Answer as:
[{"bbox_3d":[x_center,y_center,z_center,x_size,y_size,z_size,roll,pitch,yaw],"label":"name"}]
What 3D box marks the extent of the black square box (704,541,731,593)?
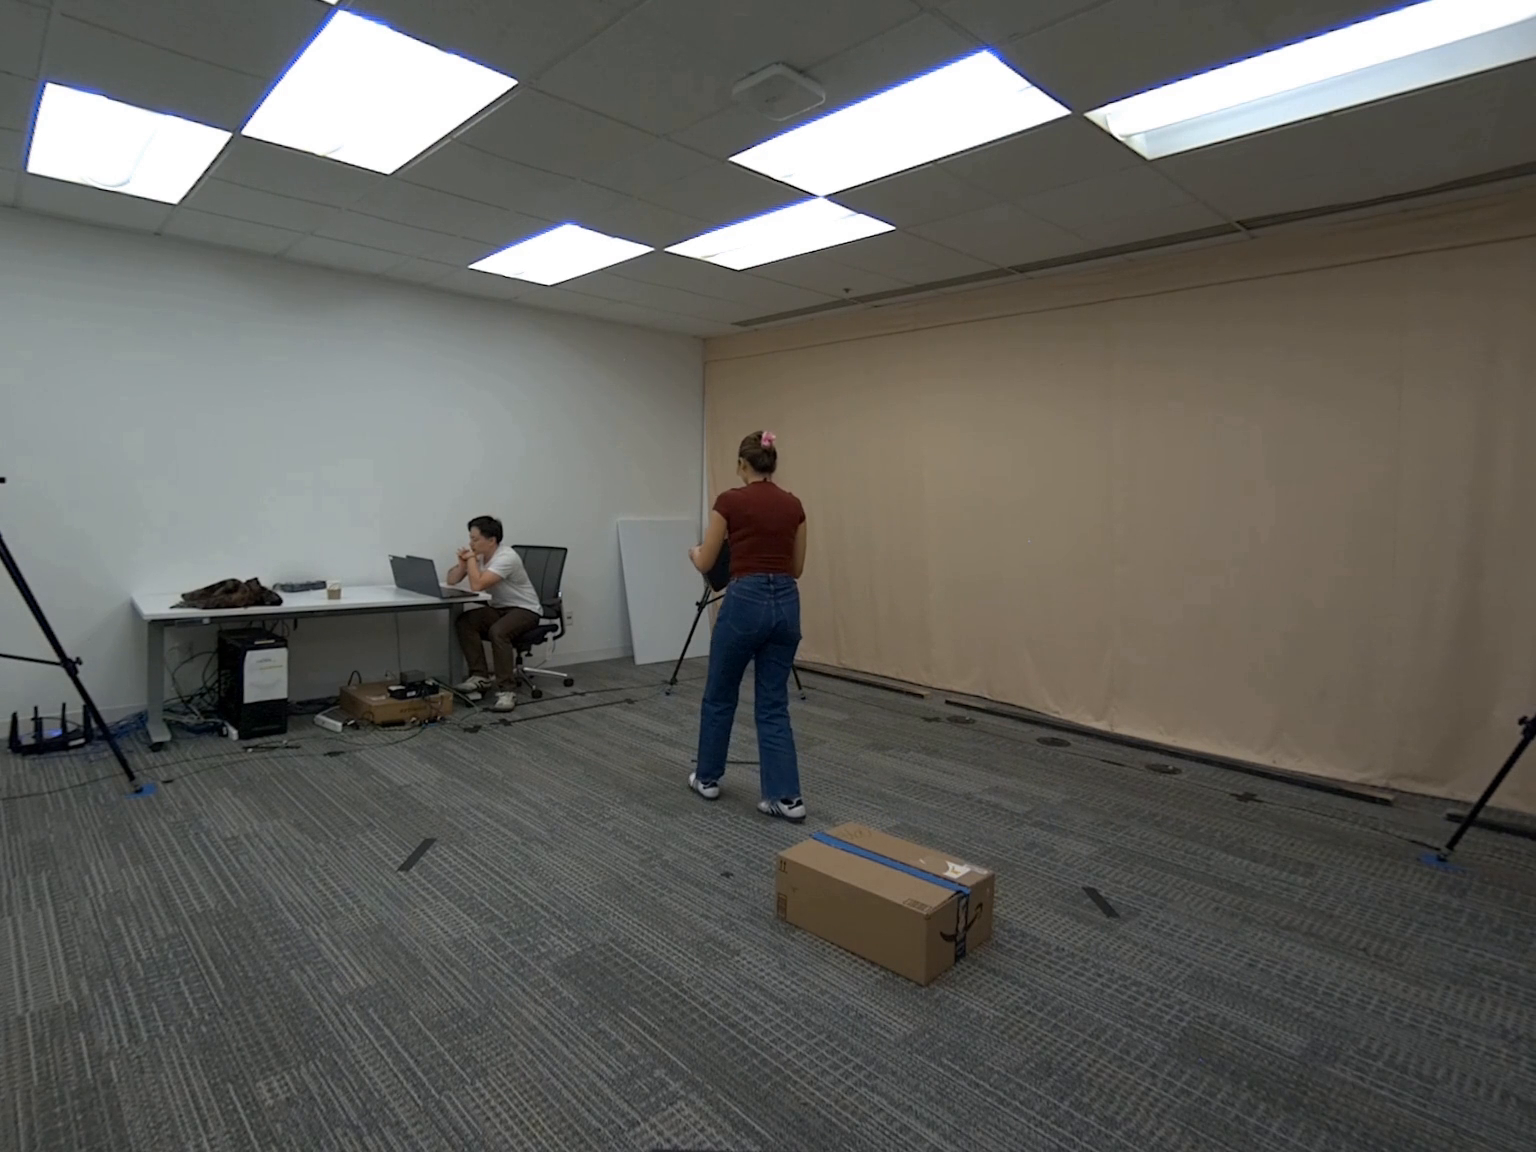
[{"bbox_3d":[-0.220,-0.068,4.100,0.227,0.214,0.159,-30,16,-9],"label":"black square box"}]
